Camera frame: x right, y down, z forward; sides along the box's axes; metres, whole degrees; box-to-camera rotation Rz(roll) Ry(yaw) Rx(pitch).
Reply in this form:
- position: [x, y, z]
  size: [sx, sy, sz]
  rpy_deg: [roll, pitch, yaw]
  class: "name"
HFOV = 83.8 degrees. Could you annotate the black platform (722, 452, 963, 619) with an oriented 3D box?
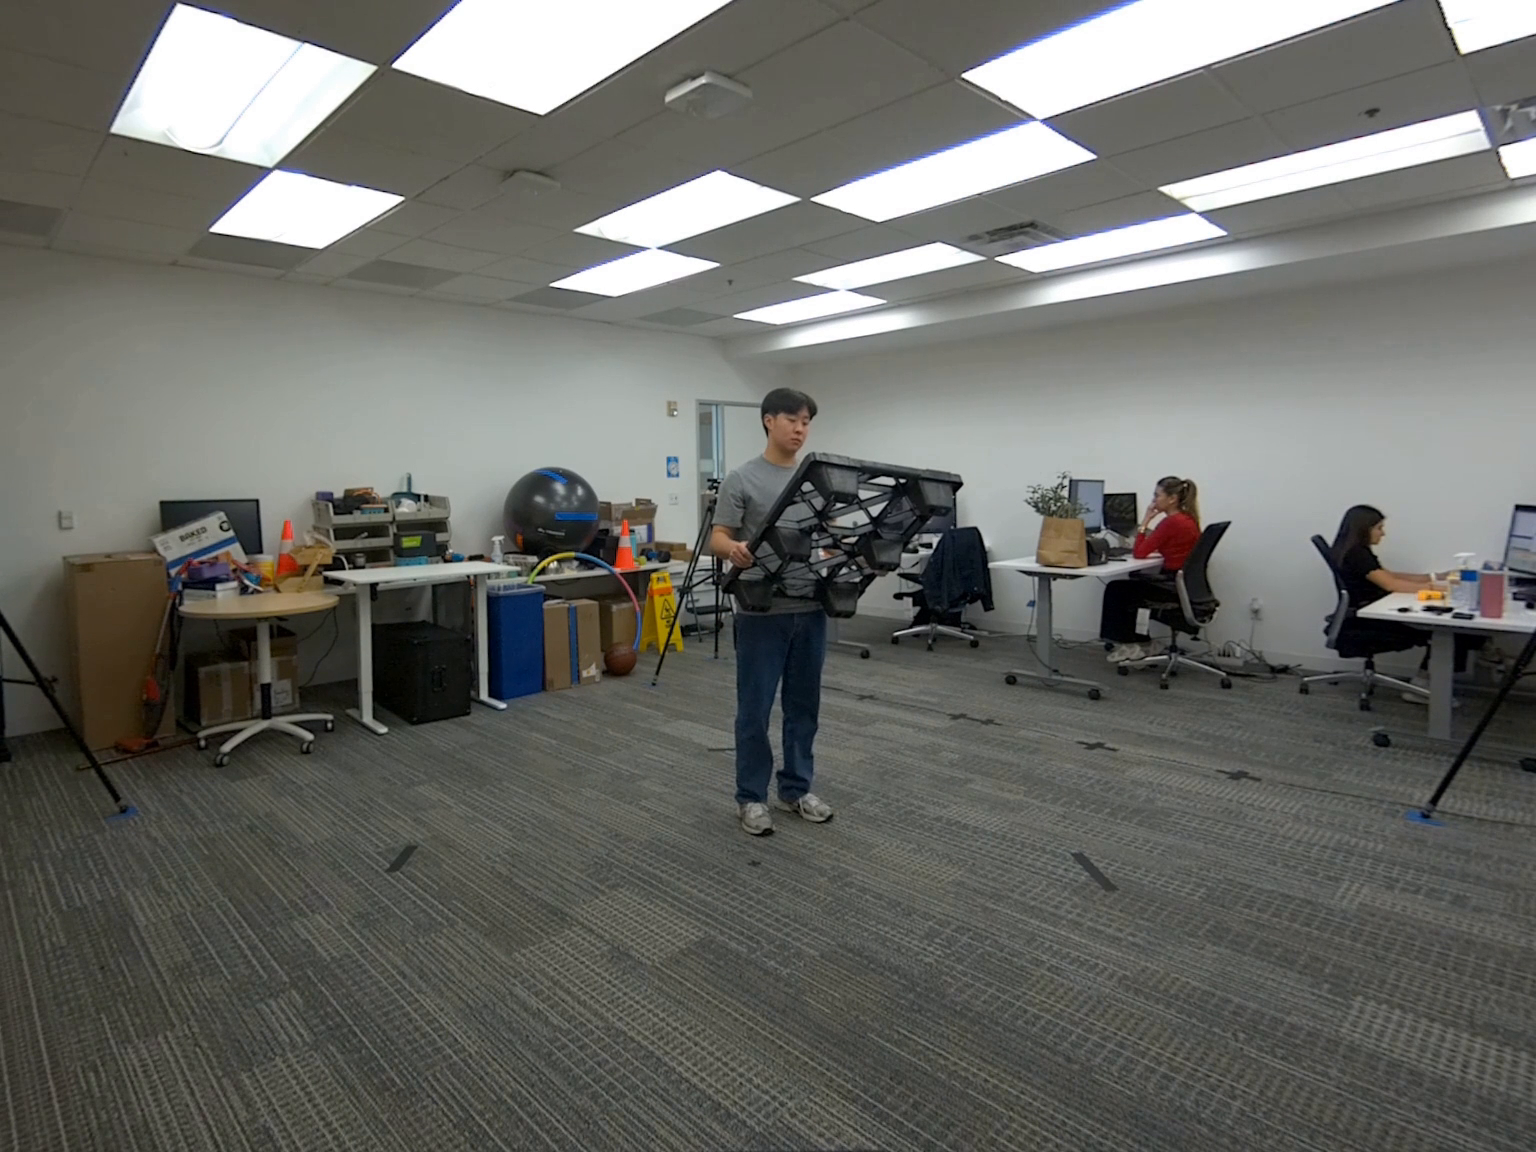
- position: [0.255, -0.109, 3.069]
  size: [0.592, 0.148, 0.799]
  rpy_deg: [5, -36, -23]
  class: "black platform"
